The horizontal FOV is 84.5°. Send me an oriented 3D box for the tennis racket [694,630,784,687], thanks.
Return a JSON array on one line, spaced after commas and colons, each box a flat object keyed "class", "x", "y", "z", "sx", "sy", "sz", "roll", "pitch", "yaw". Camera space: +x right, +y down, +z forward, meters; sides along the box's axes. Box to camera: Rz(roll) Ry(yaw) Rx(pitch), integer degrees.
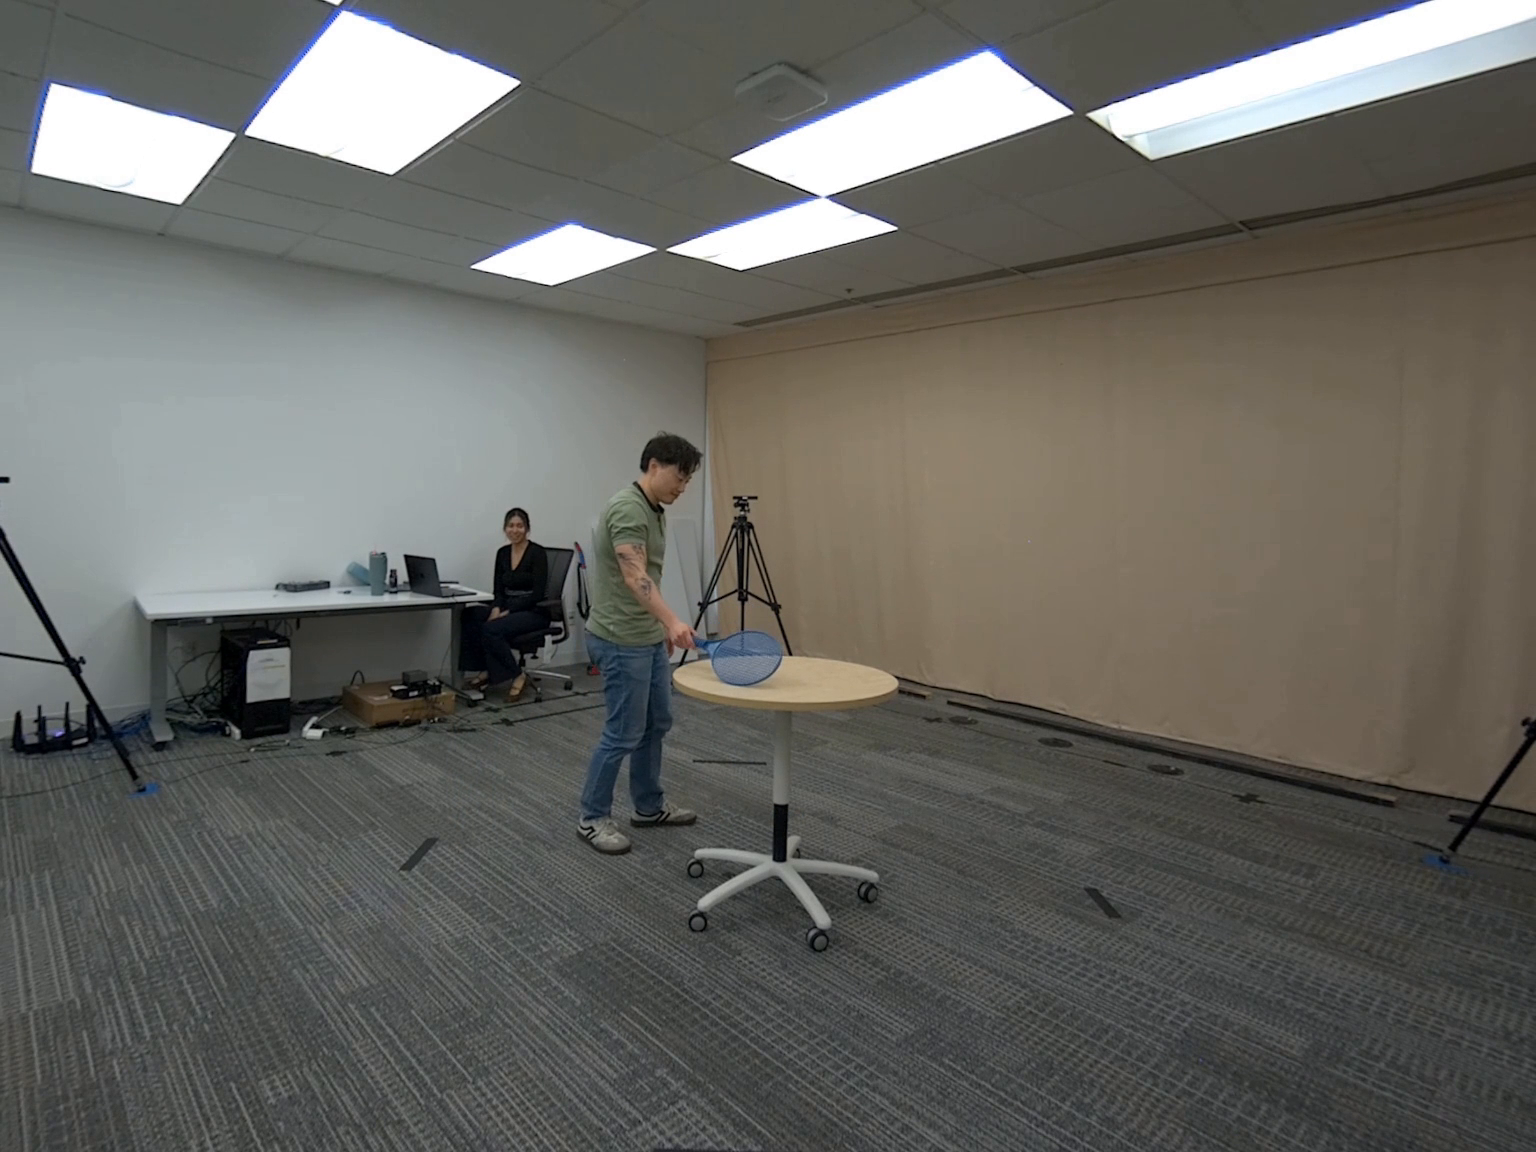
[{"class": "tennis racket", "x": -0.146, "y": 0.256, "z": 2.824, "sx": 0.445, "sy": 0.214, "sz": 0.031, "roll": 14, "pitch": -33, "yaw": 41}]
